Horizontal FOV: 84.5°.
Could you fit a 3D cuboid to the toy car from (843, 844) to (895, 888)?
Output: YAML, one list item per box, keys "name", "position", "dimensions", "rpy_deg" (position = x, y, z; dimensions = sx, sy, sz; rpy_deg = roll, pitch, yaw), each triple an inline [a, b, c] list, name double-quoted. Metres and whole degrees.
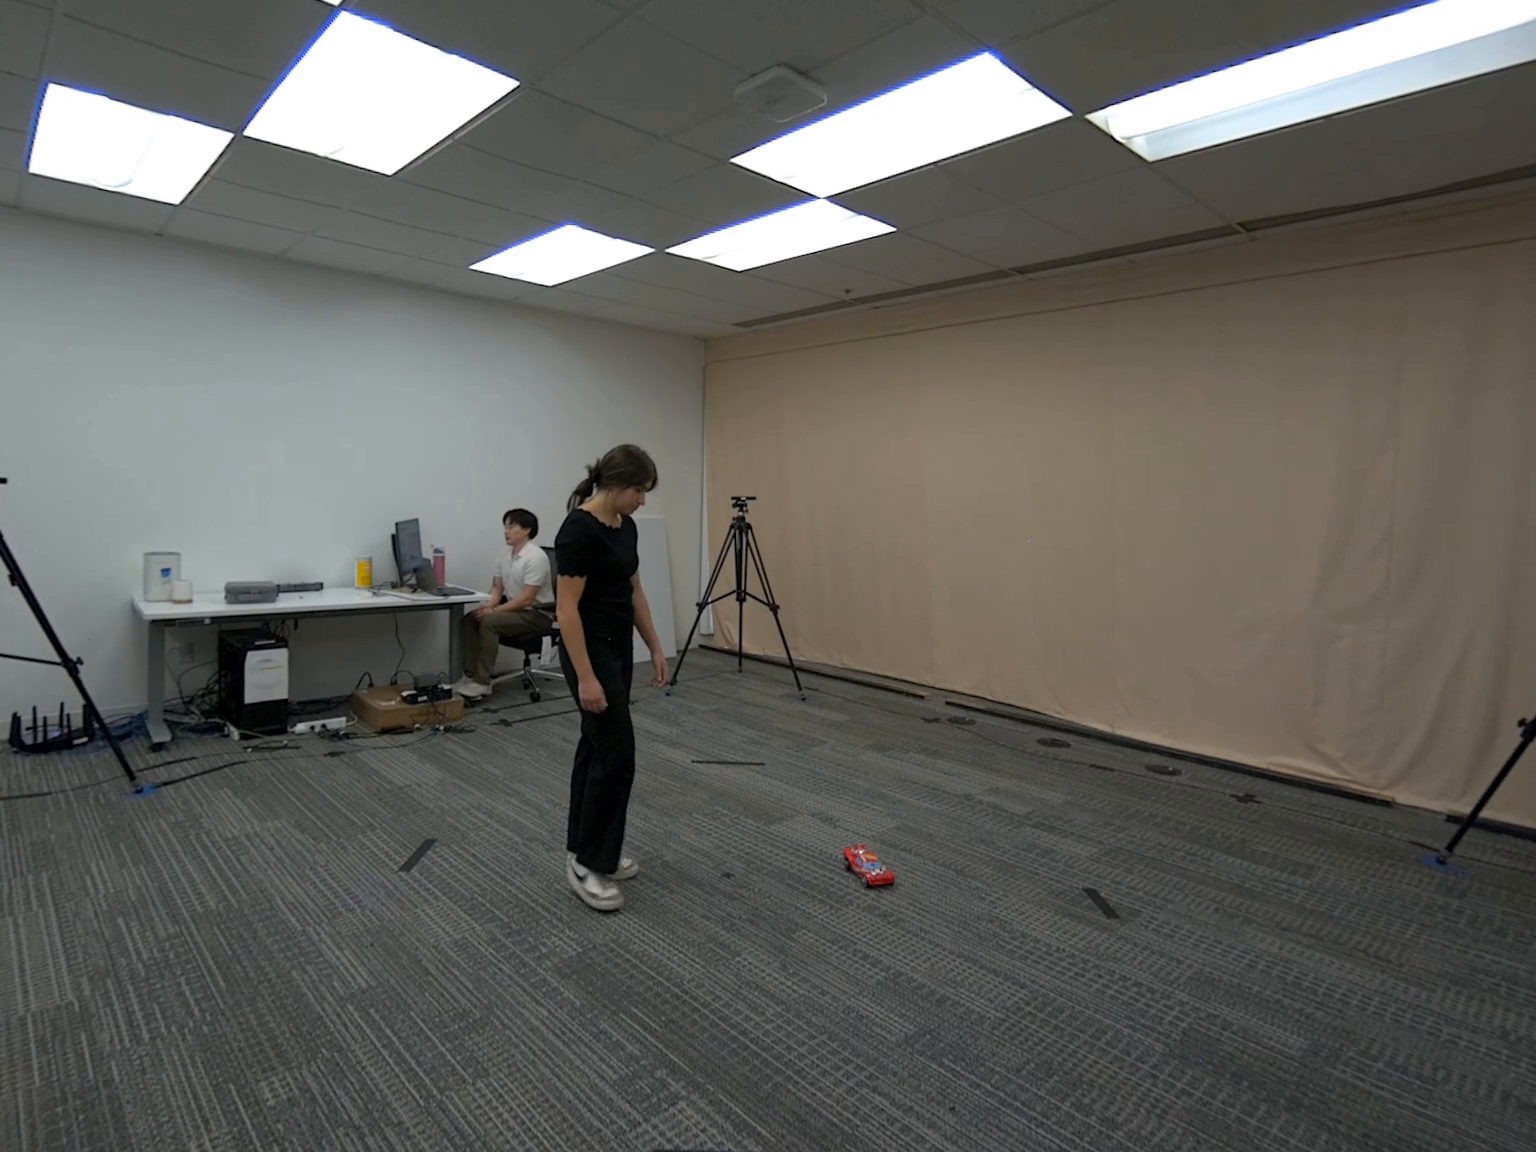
- name: "toy car"
  position: [0.361, 1.082, 3.140]
  dimensions: [0.128, 0.082, 0.261]
  rpy_deg: [1, 16, -19]
